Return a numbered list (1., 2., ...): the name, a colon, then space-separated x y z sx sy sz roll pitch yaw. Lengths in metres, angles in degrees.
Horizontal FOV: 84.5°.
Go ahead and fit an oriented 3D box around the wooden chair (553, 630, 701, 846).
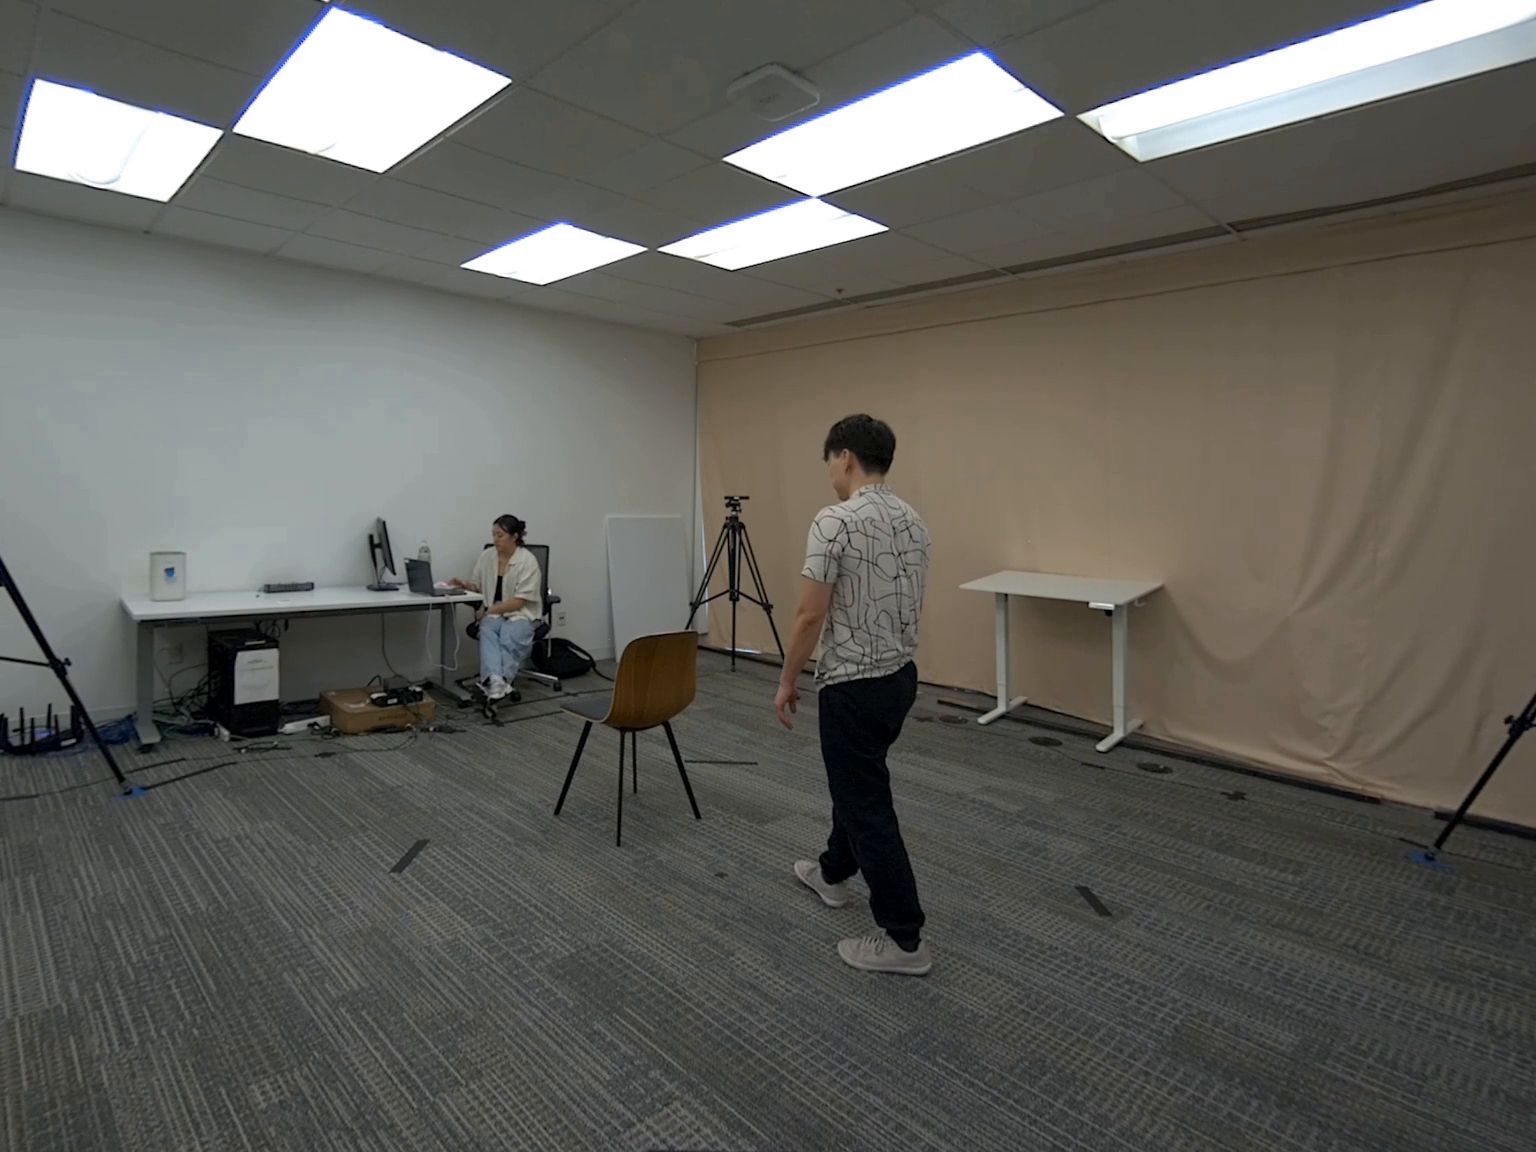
1. wooden chair: -0.608 0.619 3.621 0.537 0.873 0.467 11 9 43
